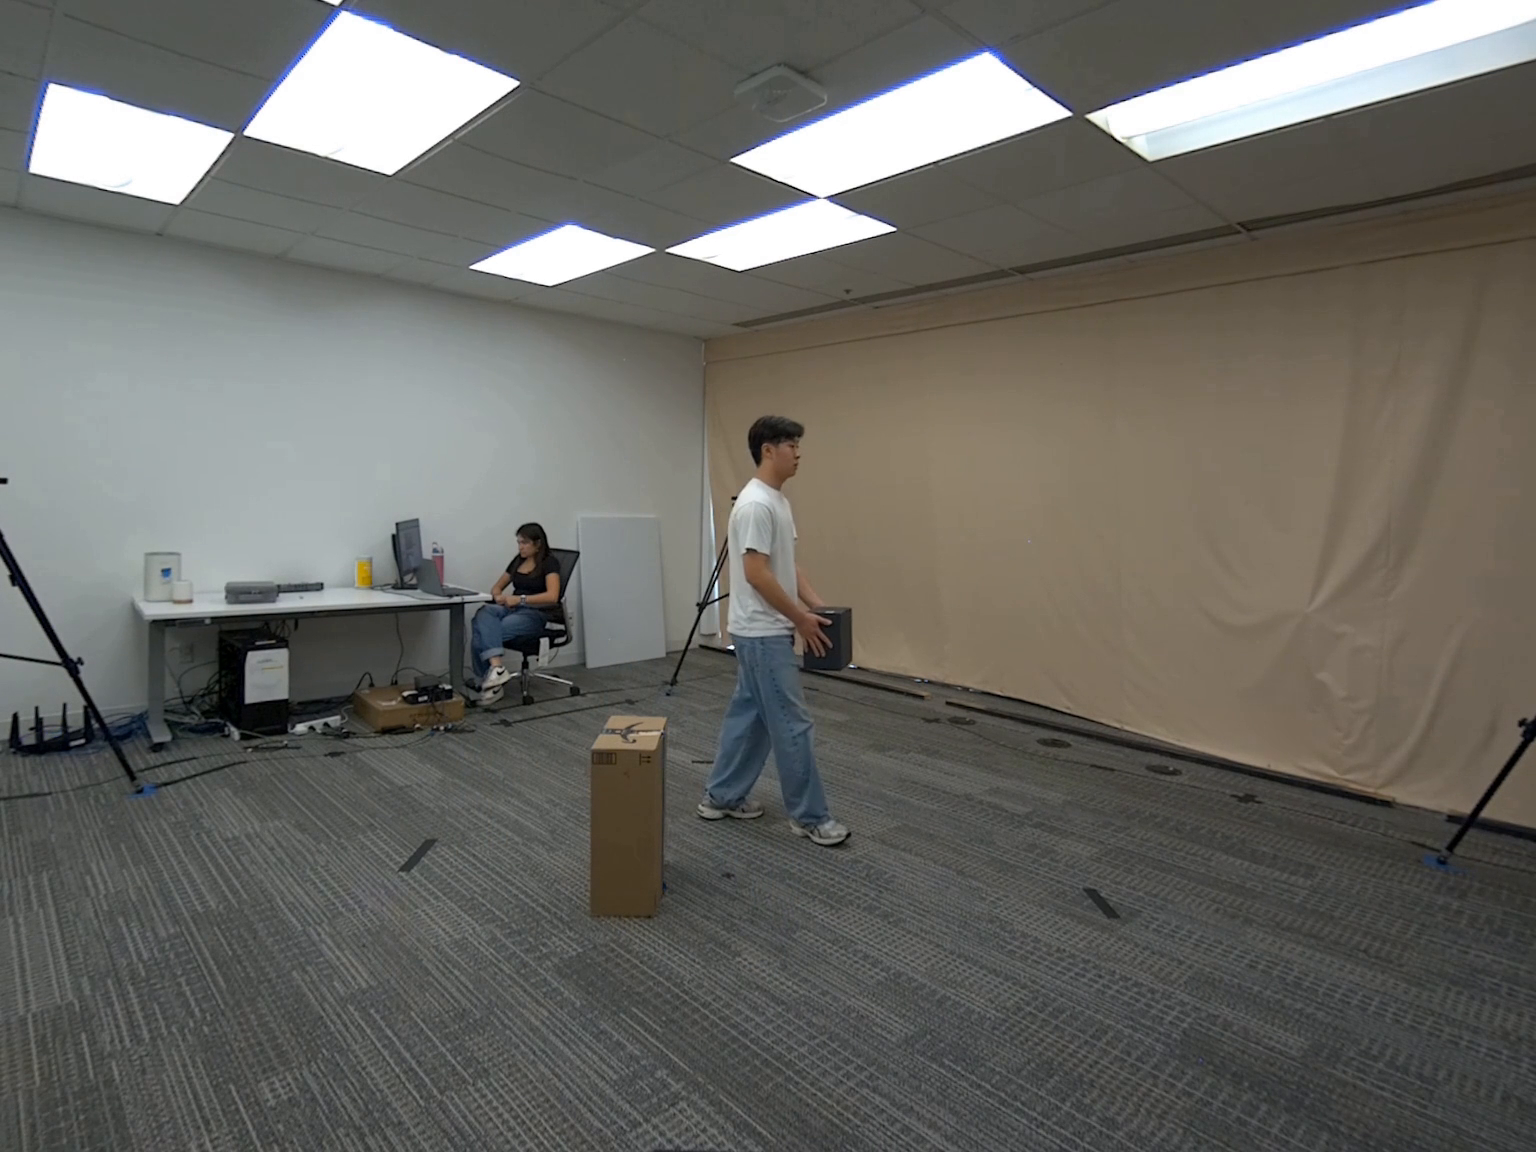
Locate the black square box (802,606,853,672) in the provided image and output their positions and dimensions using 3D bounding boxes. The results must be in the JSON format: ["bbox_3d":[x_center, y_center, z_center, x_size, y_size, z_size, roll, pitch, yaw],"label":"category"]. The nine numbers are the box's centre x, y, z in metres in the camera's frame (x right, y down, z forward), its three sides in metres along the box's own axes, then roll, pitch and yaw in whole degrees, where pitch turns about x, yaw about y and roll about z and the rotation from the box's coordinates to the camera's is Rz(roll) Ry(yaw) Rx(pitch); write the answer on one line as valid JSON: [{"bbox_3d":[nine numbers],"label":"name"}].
[{"bbox_3d":[0.244,0.251,3.462,0.158,0.227,0.214,1,3,19],"label":"black square box"}]
